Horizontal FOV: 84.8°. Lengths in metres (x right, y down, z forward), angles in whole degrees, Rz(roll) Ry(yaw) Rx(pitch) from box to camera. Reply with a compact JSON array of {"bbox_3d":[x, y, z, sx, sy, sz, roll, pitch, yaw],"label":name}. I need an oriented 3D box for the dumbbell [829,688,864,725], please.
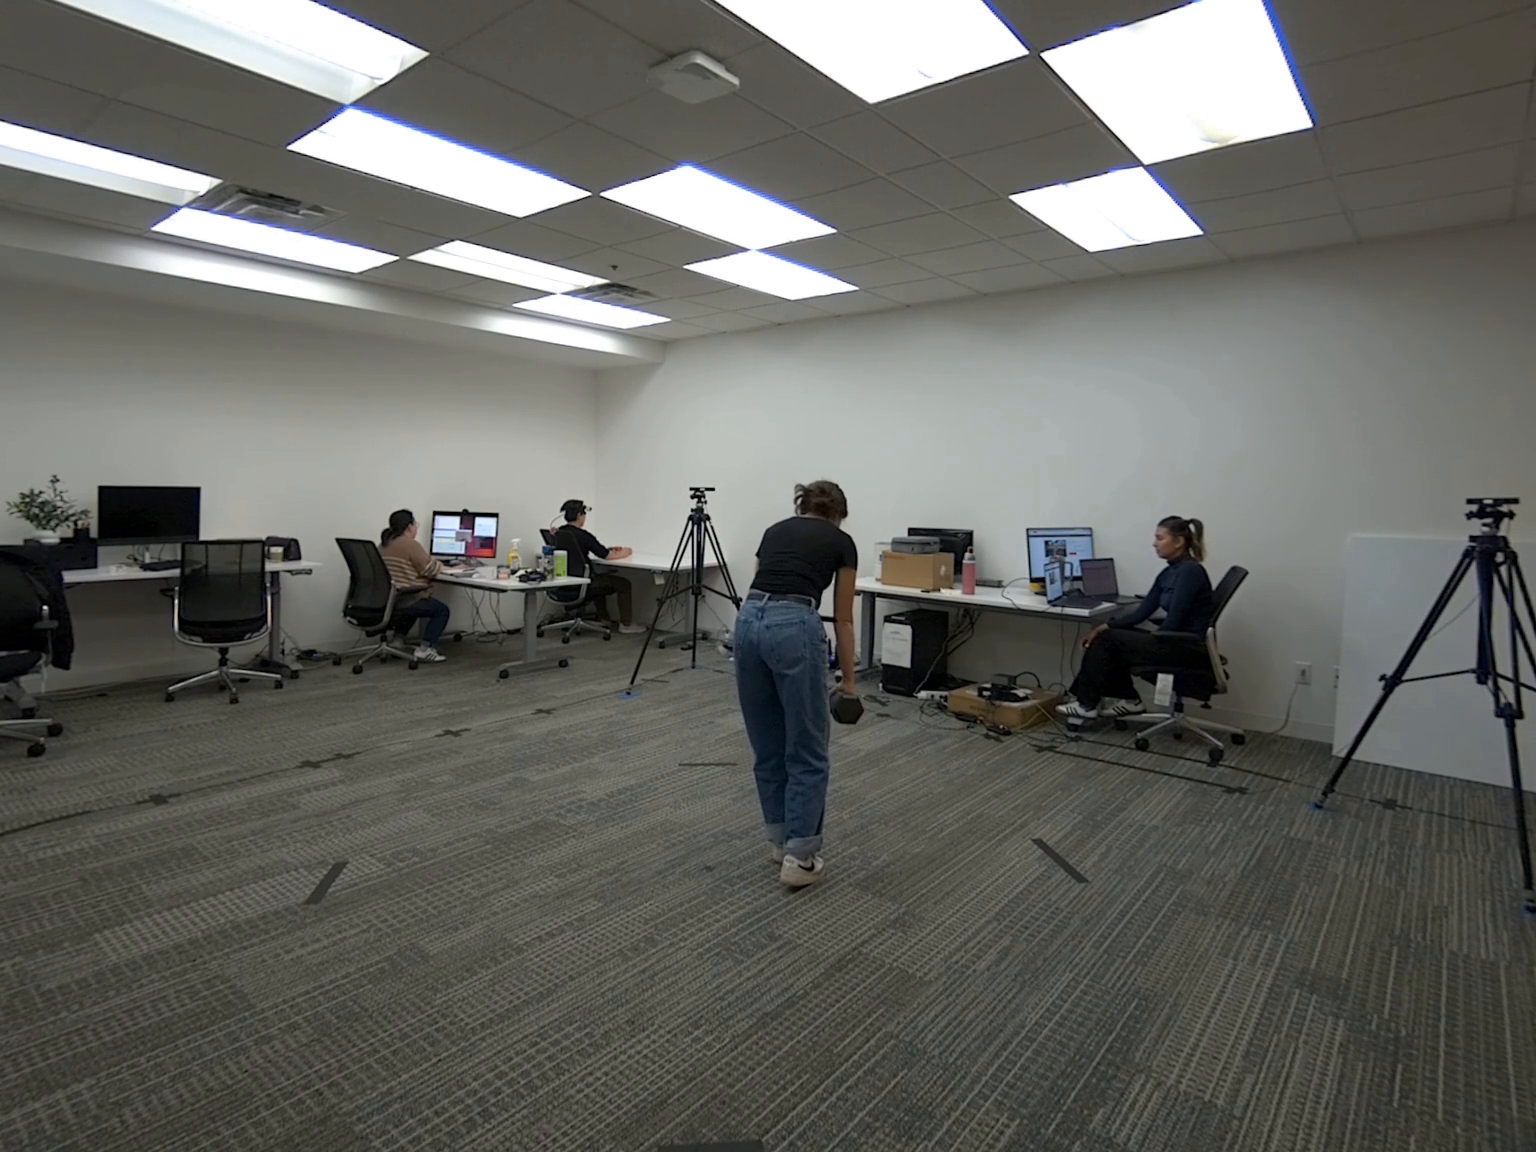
[{"bbox_3d":[0.255,0.488,3.241,0.107,0.123,0.297,36,-6,-12],"label":"dumbbell"}]
